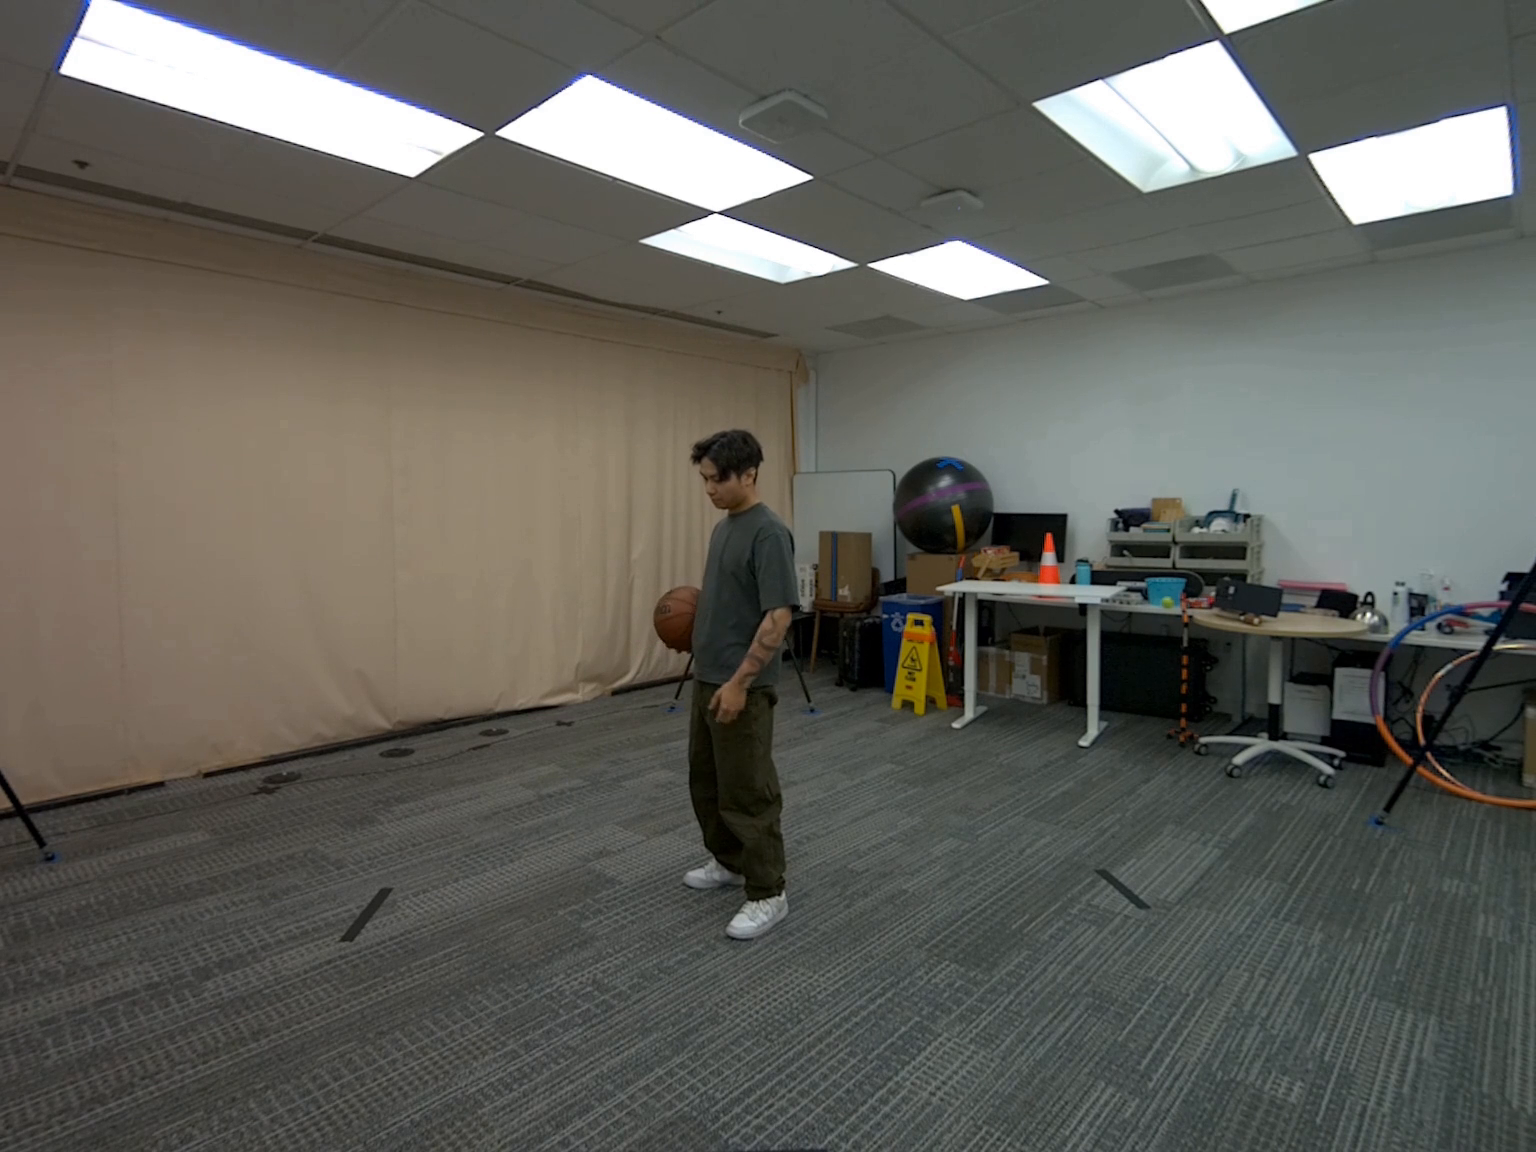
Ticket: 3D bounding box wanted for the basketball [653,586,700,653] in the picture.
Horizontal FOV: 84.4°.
[{"bbox_3d":[-0.299,0.155,3.092,0.236,0.235,0.237,0,4,-2],"label":"basketball"}]
